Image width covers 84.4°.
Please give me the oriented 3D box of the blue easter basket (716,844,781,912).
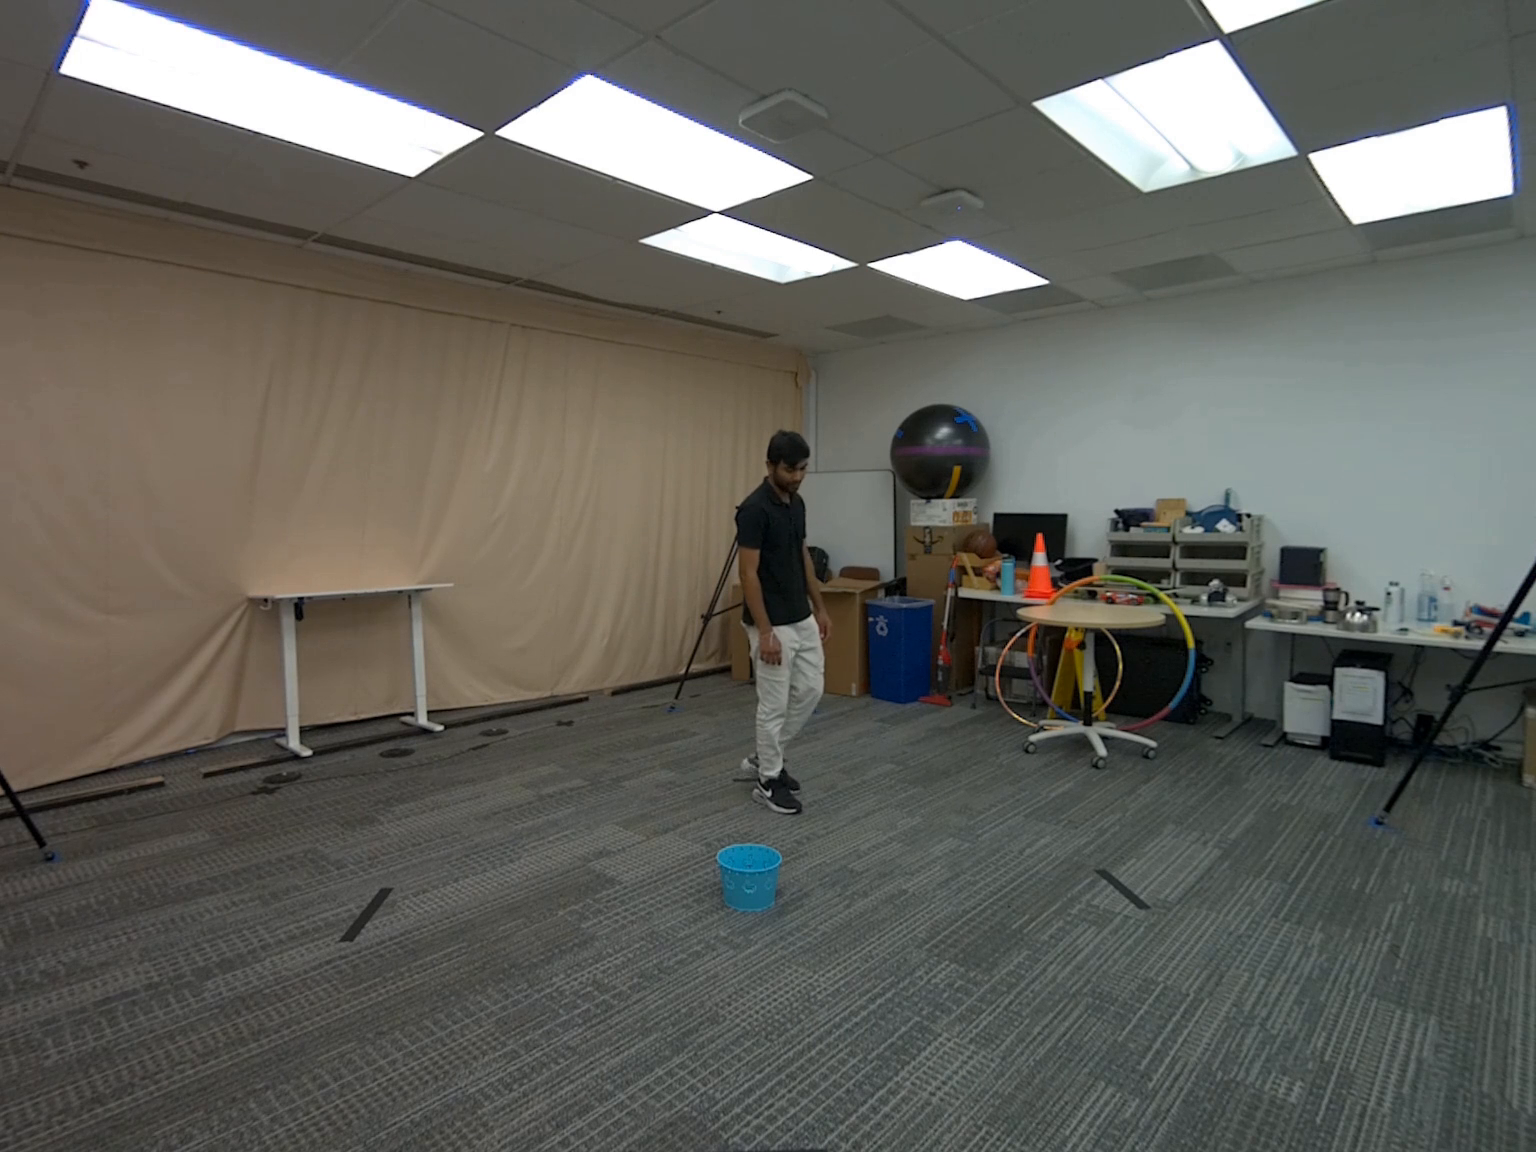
[{"bbox_3d":[-0.063,1.062,2.980,0.243,0.155,0.244,-1,4,-2],"label":"blue easter basket"}]
